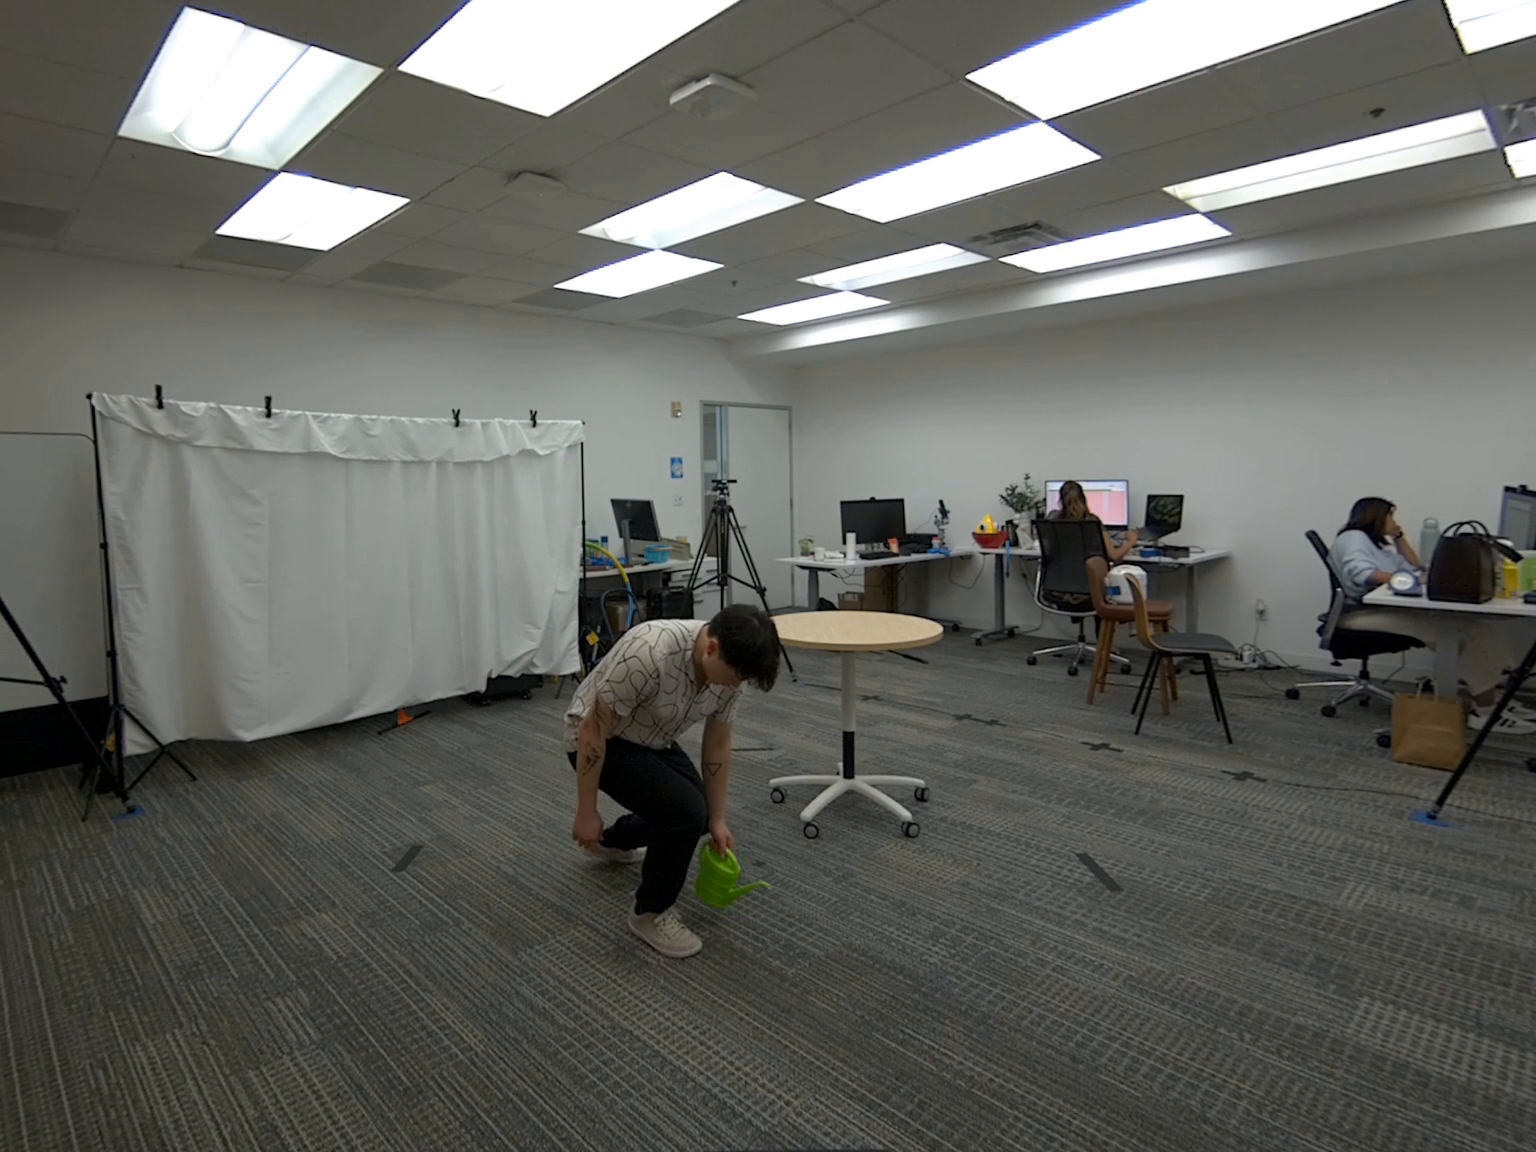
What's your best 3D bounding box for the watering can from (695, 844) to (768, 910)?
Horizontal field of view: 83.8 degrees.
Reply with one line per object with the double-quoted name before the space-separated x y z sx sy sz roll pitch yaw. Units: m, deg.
"watering can" -0.122 0.955 2.661 0.095 0.175 0.289 4 19 -35
